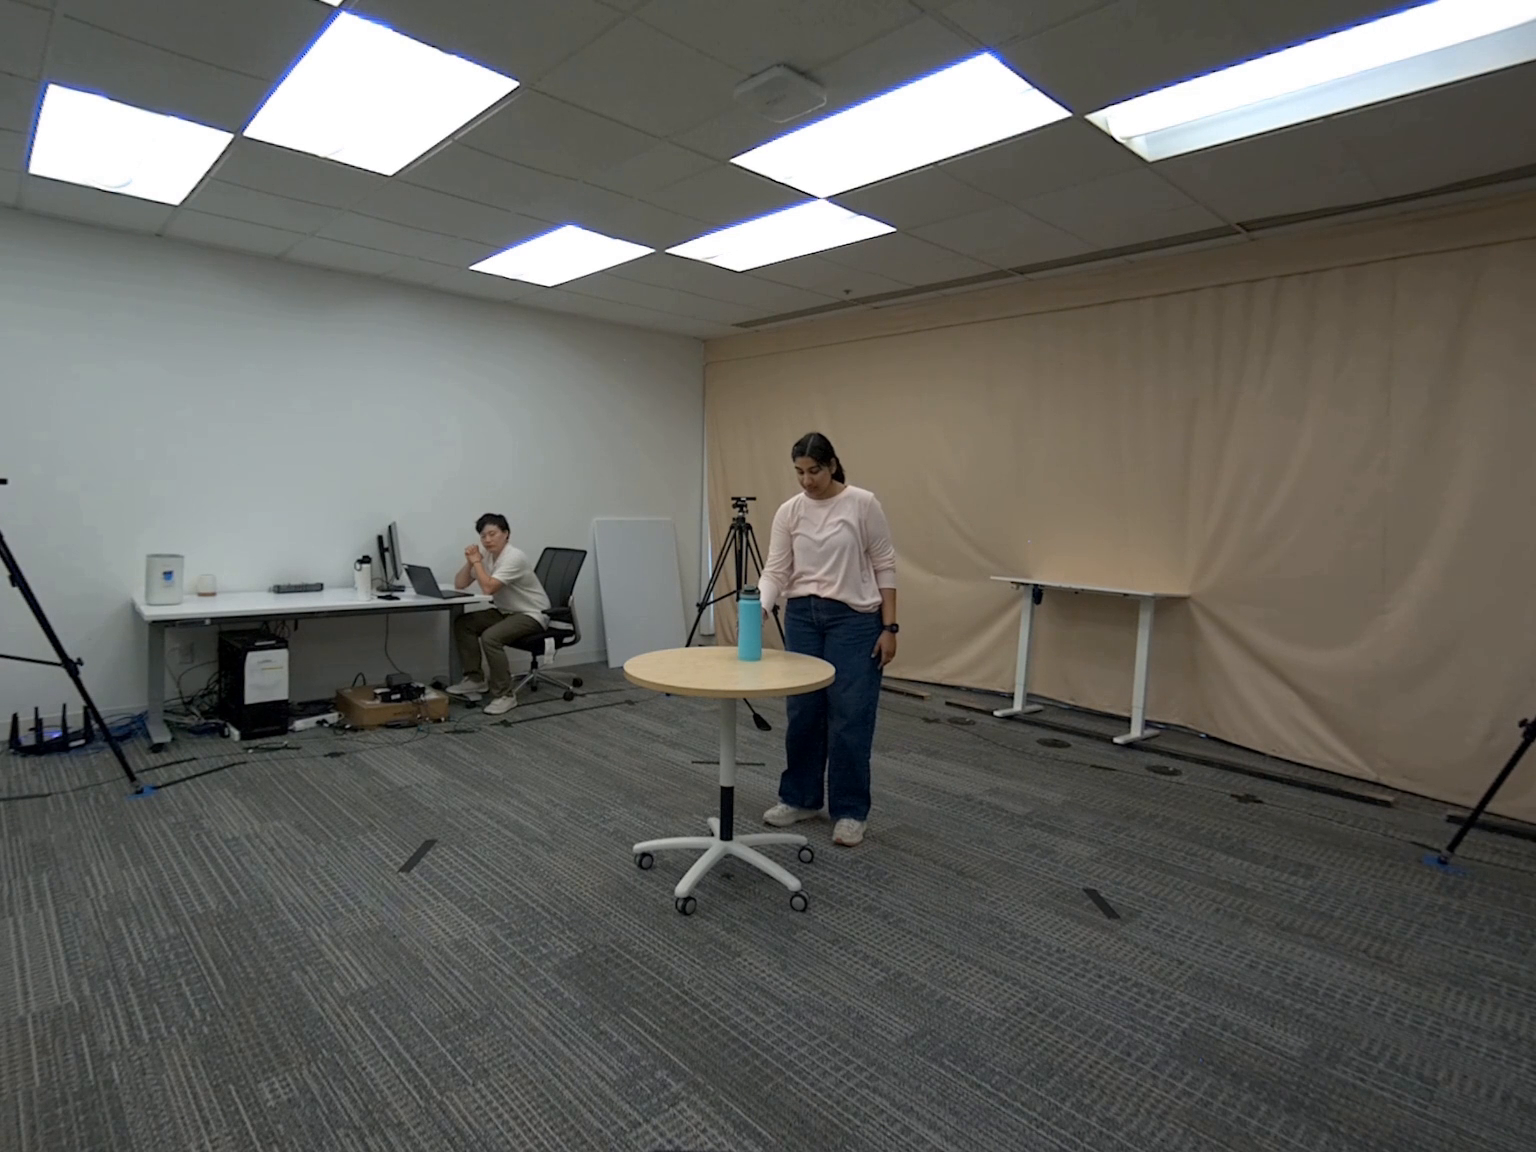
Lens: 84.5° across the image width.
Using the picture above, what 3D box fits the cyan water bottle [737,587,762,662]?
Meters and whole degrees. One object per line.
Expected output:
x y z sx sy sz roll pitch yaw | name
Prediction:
-0.079 0.178 3.188 0.092 0.282 0.093 0 5 -1 | cyan water bottle
